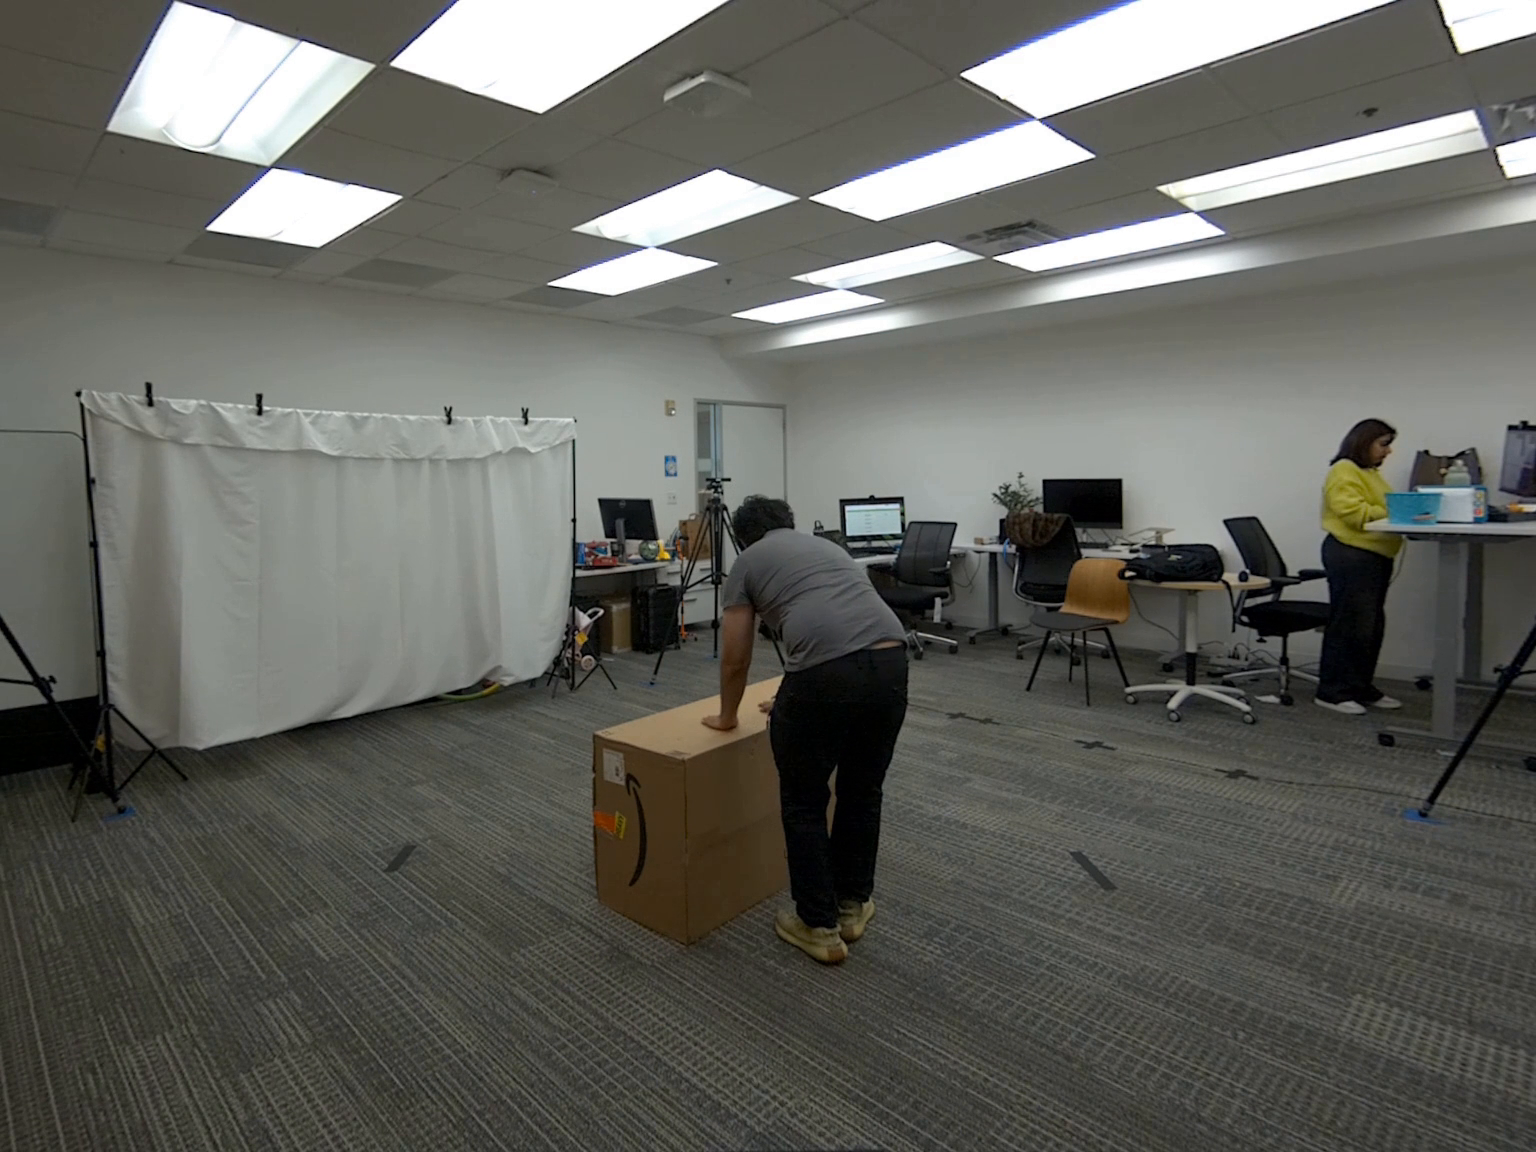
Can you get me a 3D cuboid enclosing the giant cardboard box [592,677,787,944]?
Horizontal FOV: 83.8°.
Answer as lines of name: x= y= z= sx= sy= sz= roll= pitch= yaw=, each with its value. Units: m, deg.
giant cardboard box: x=-0.092 y=0.760 z=3.062 sx=0.439 sy=0.575 sz=1.000 roll=3 pitch=7 yaw=40
